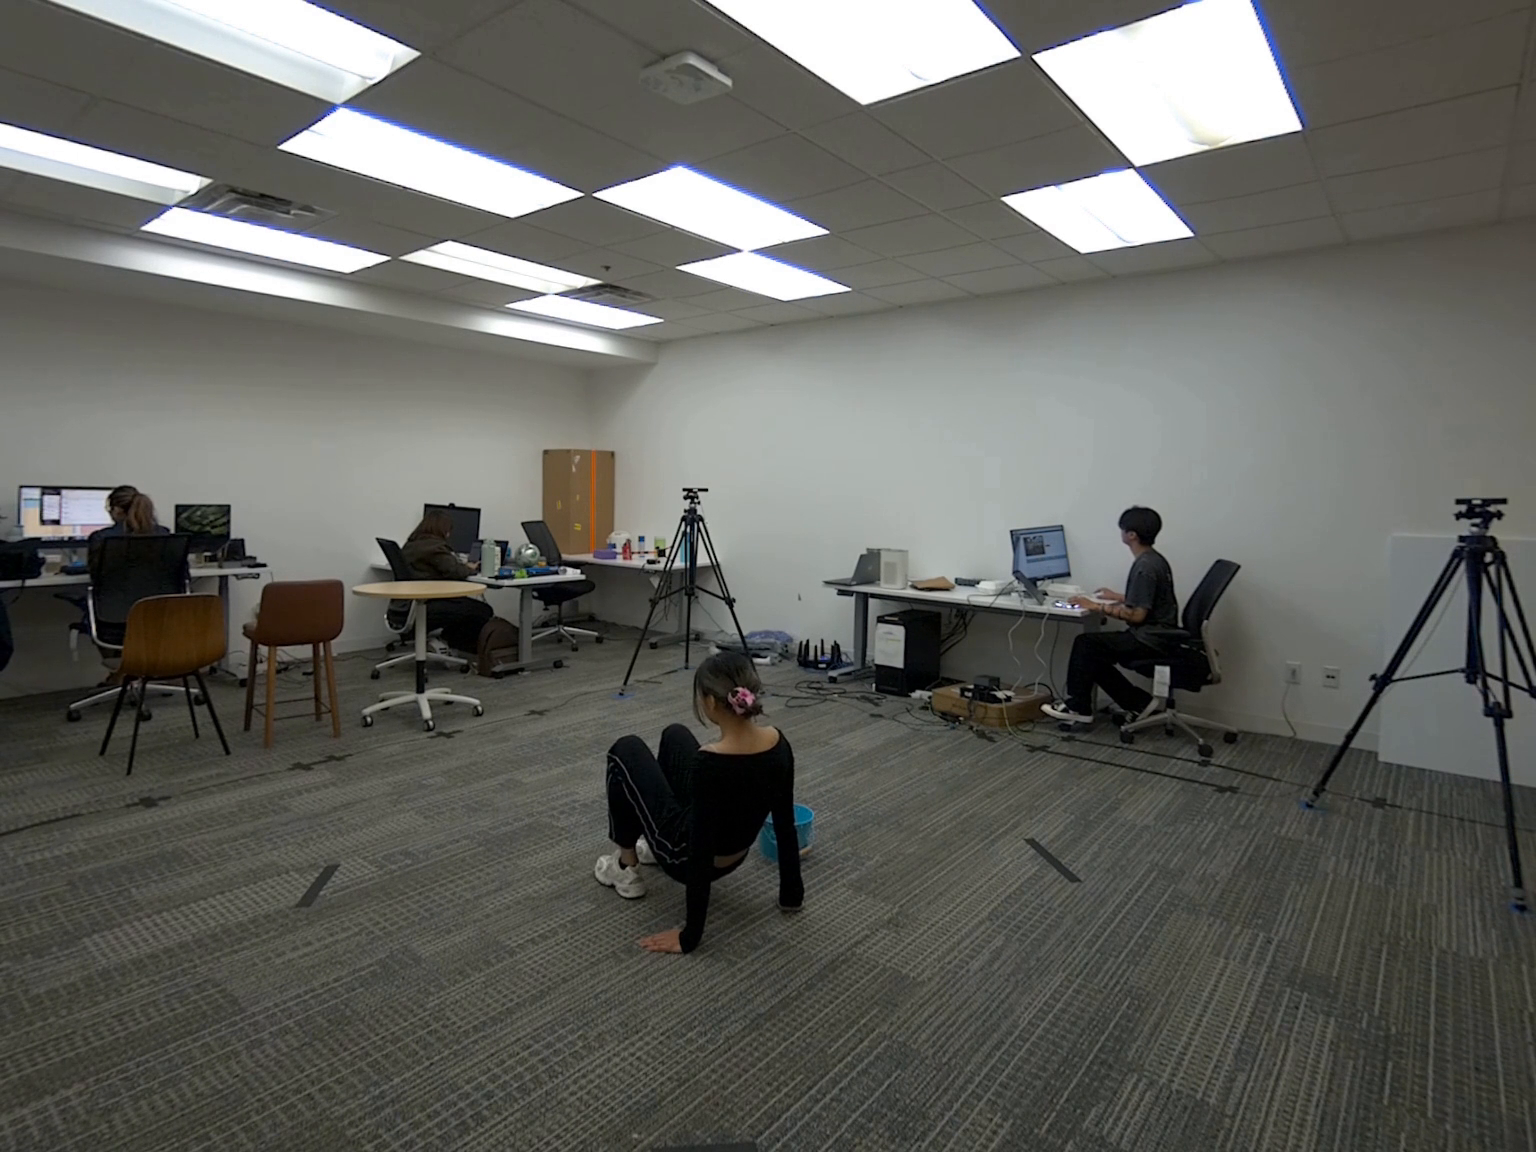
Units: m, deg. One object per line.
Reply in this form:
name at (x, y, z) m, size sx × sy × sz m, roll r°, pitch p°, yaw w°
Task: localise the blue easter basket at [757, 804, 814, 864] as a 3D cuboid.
blue easter basket at (0.052, 0.981, 3.267) m, size 0.243 × 0.155 × 0.245 m, roll 2°, pitch 5°, yaw -2°
